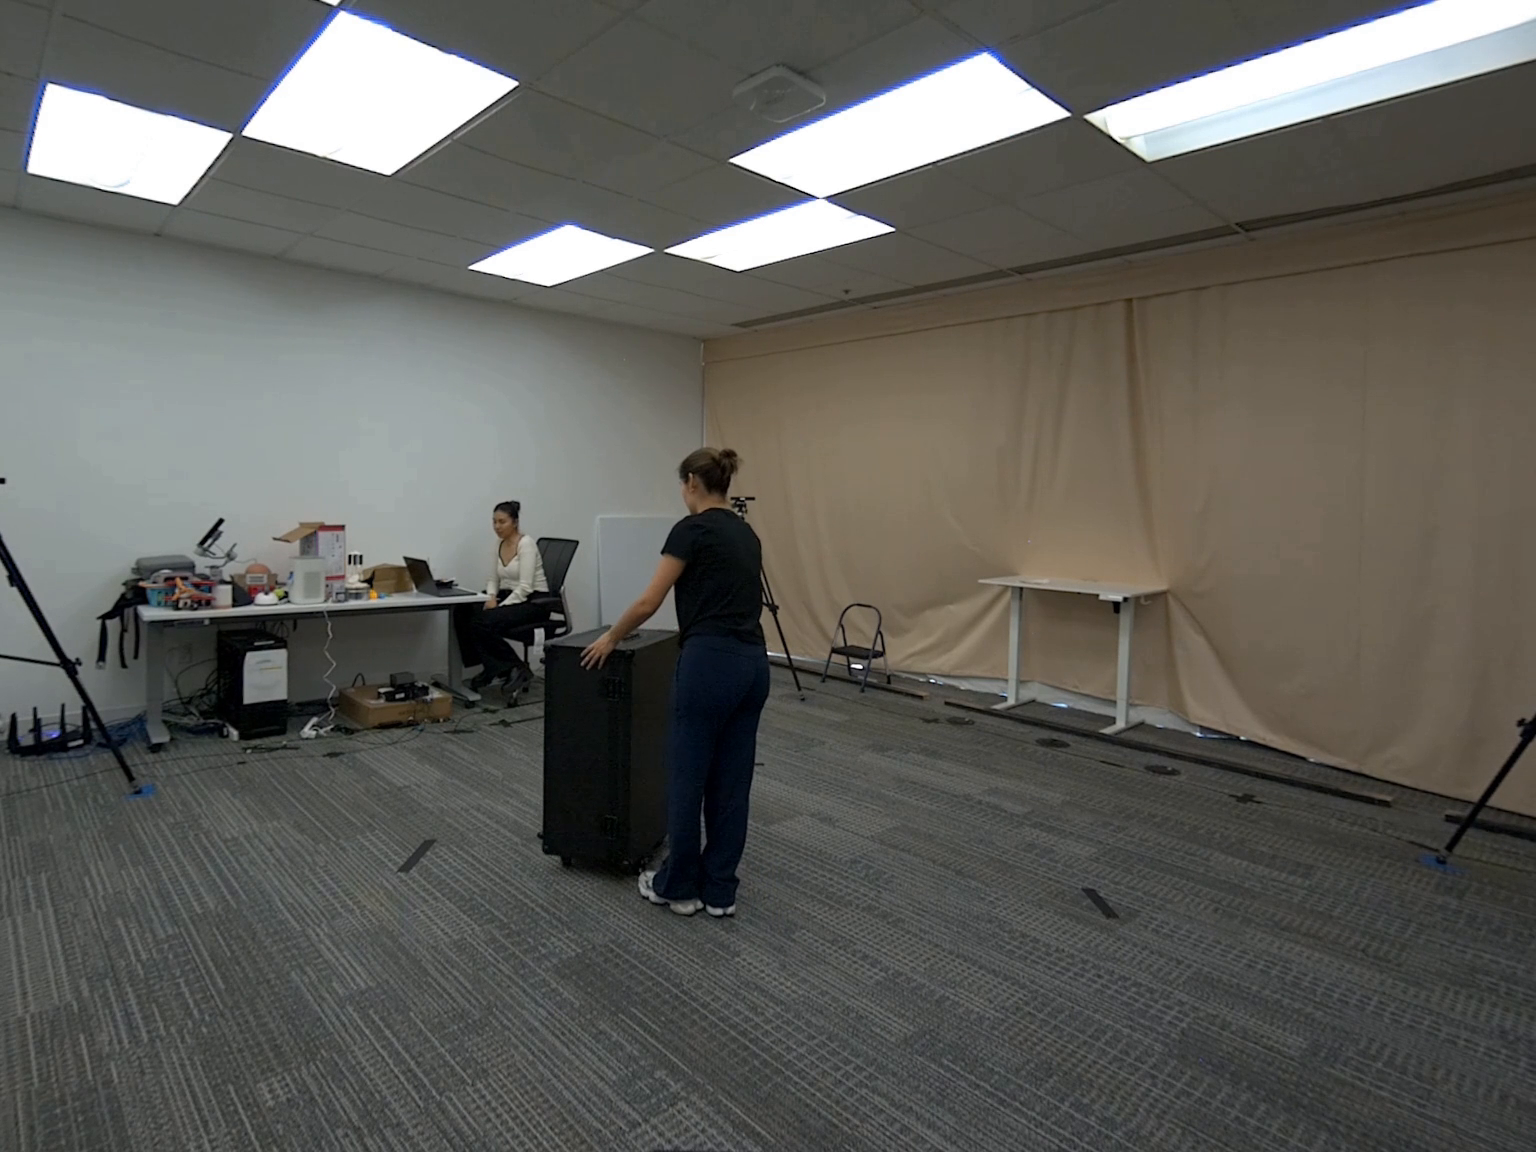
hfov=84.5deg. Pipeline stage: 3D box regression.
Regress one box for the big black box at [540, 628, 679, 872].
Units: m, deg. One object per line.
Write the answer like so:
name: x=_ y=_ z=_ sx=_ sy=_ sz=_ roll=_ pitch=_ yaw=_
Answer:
big black box: x=-0.590 y=0.658 z=3.229 sx=0.402 sy=0.859 sz=0.515 roll=3 pitch=4 yaw=18
